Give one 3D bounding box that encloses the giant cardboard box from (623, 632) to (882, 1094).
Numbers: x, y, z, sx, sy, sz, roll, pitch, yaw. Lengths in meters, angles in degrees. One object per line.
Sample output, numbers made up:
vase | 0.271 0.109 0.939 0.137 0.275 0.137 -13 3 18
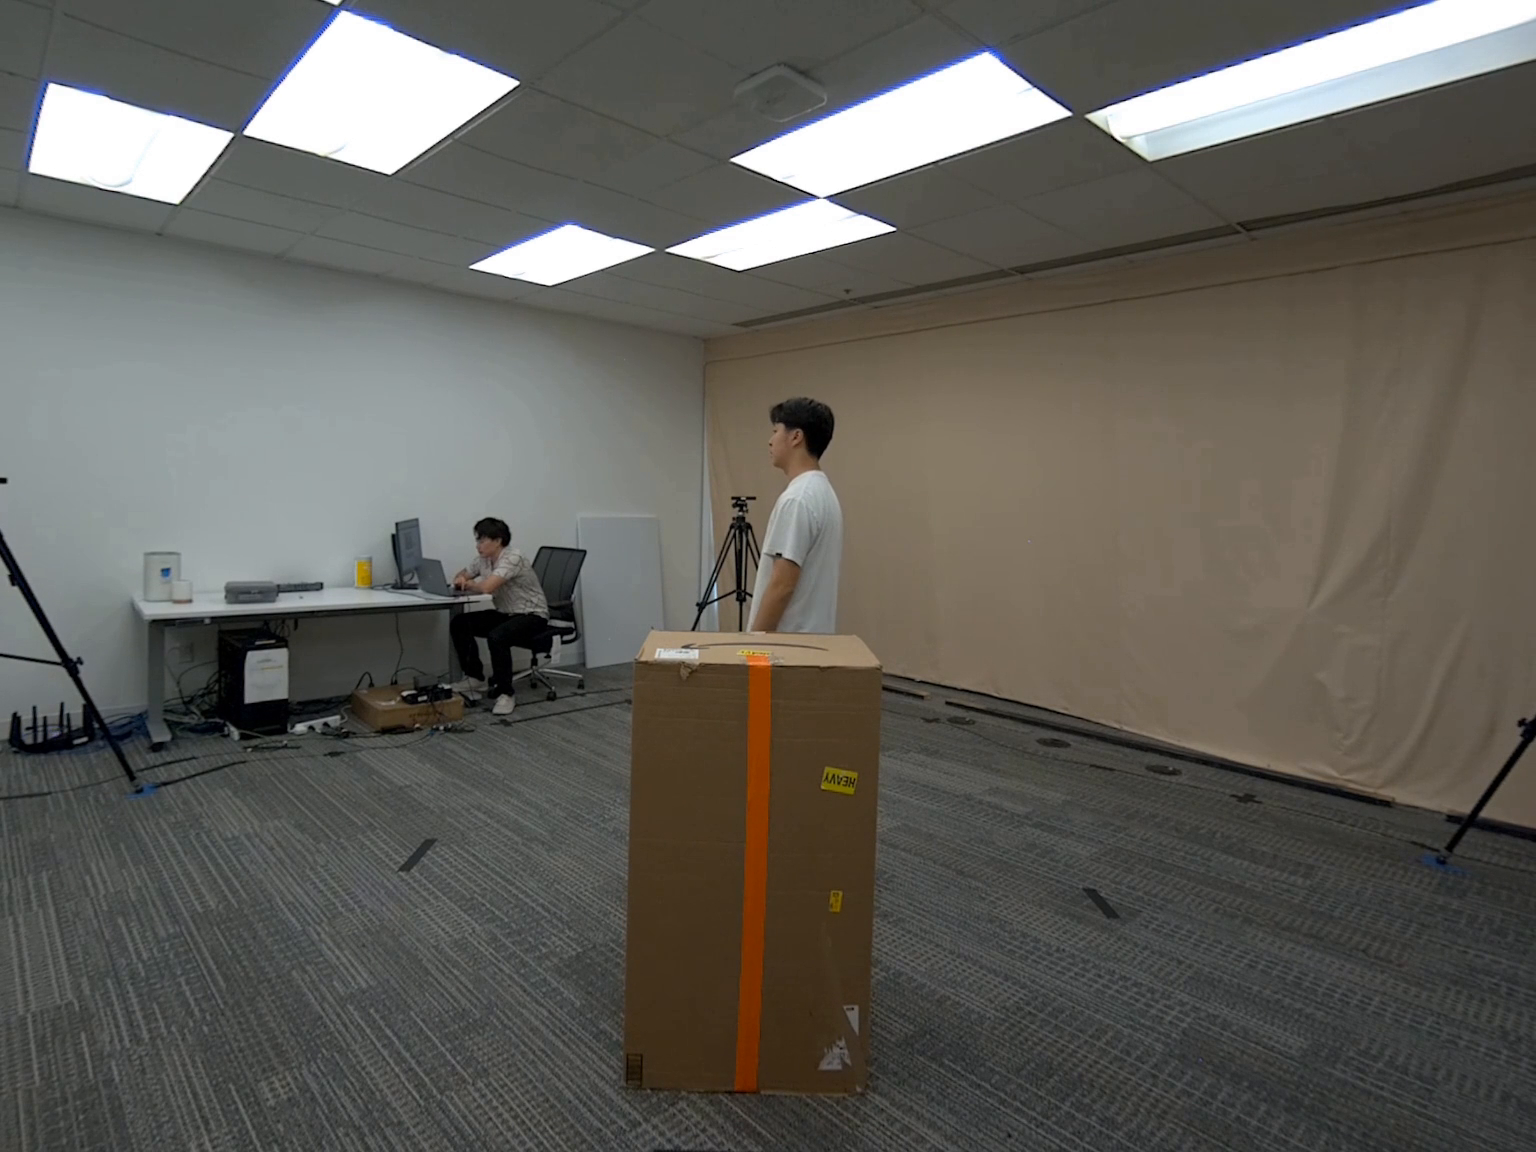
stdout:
giant cardboard box | -0.056 0.688 2.149 0.577 1.023 0.427 1 4 0
